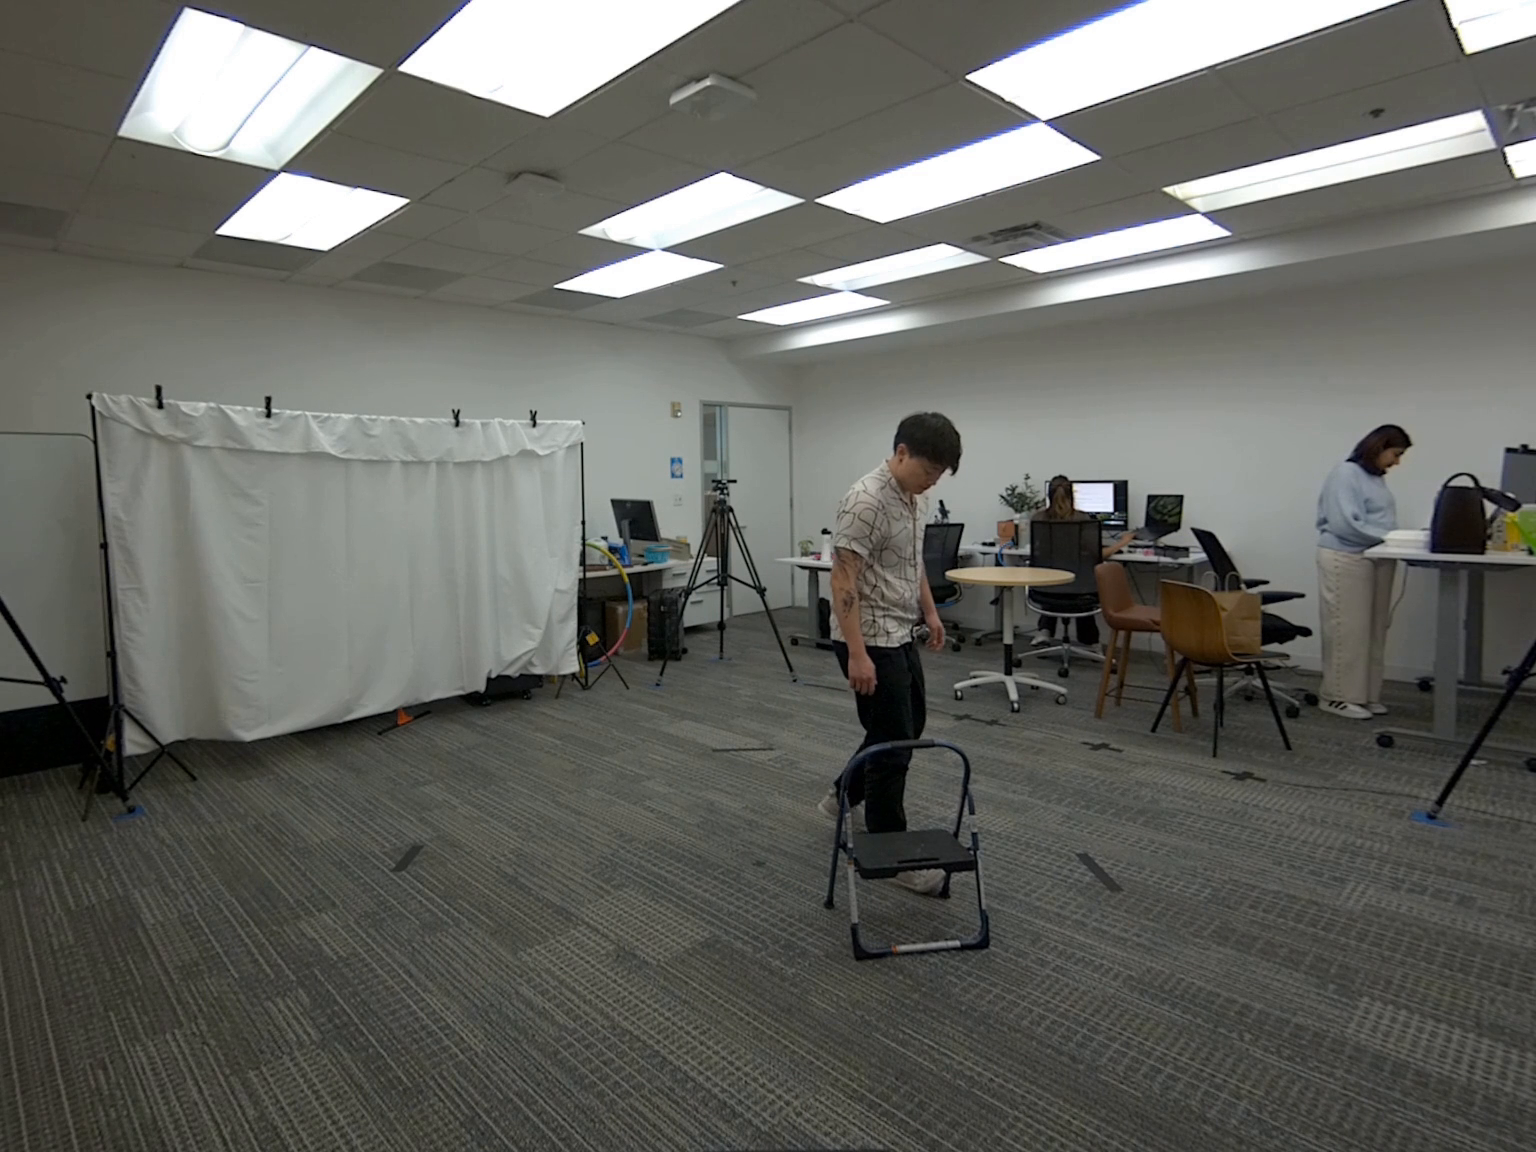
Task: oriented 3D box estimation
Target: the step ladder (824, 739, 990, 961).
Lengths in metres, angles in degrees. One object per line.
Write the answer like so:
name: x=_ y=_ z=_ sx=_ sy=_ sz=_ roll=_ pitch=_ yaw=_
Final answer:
step ladder: x=0.423 y=0.791 z=2.640 sx=0.427 sy=0.603 sz=0.354 roll=-2 pitch=5 yaw=-9
